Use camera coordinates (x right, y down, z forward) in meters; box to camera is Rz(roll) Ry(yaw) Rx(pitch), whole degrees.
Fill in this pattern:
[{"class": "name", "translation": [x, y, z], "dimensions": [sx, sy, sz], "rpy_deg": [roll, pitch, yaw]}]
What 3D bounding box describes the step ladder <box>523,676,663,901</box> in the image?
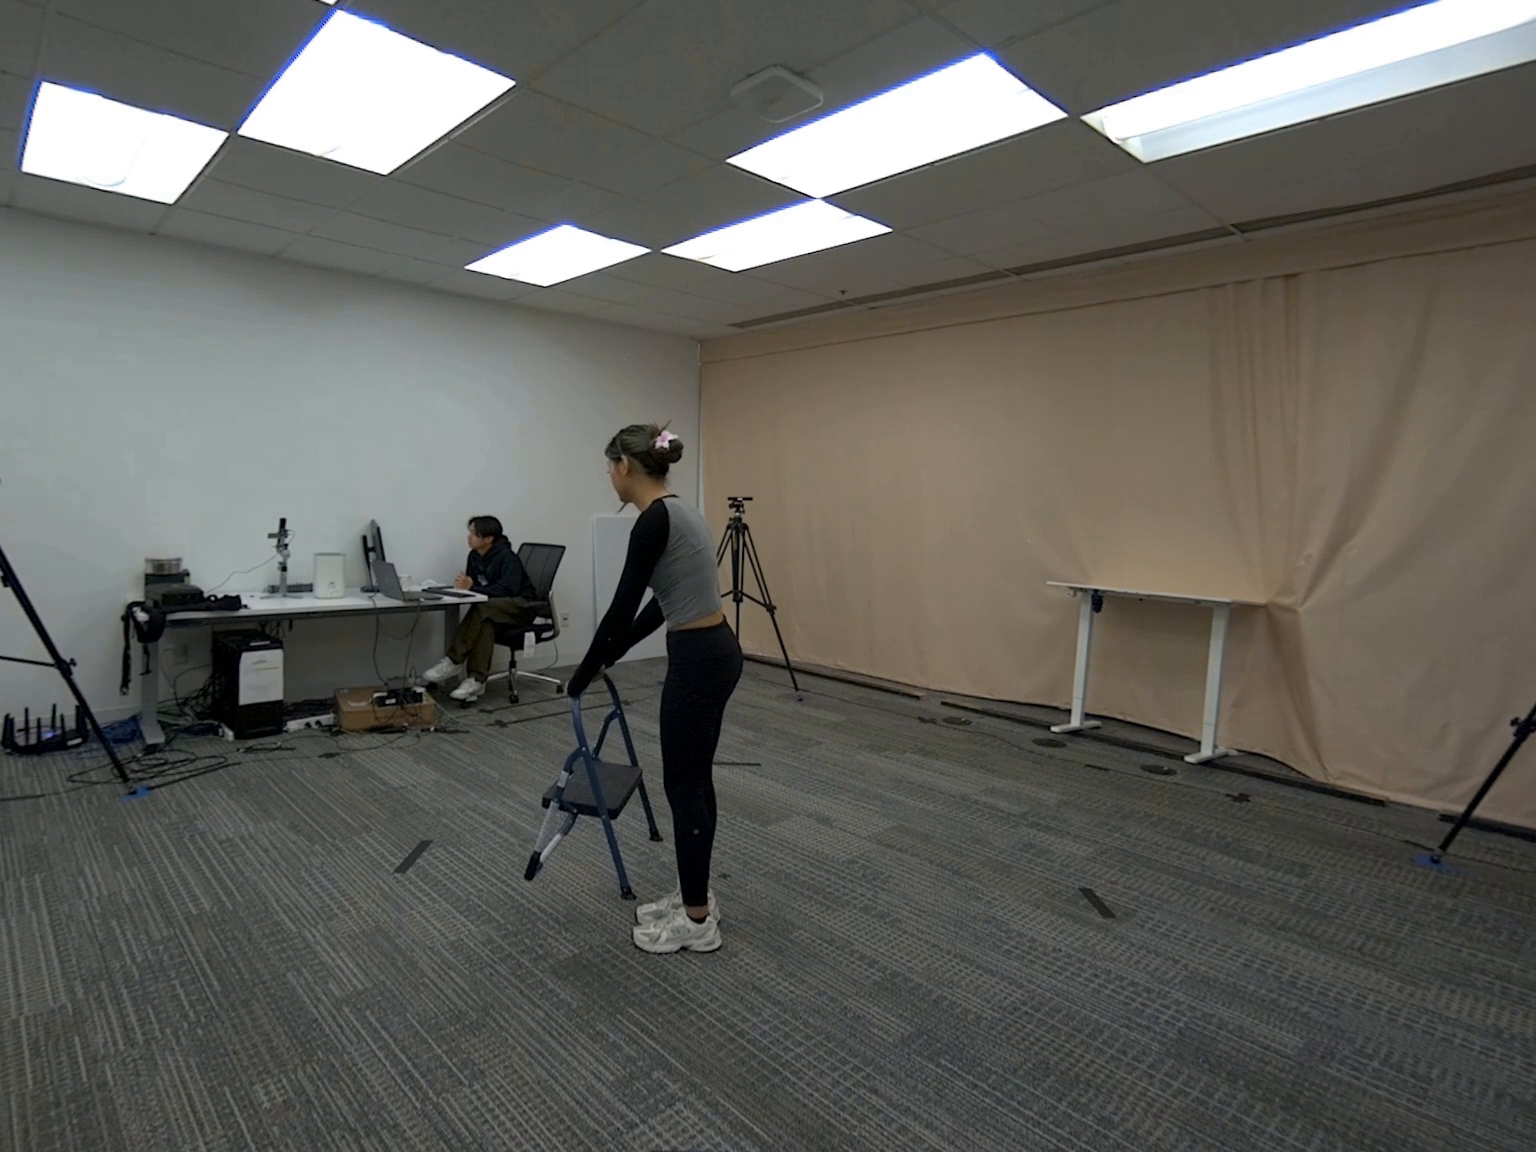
[{"class": "step ladder", "translation": [-0.535, 0.635, 2.716], "dimensions": [0.351, 0.603, 0.430], "rpy_deg": [6, 8, 5]}]
